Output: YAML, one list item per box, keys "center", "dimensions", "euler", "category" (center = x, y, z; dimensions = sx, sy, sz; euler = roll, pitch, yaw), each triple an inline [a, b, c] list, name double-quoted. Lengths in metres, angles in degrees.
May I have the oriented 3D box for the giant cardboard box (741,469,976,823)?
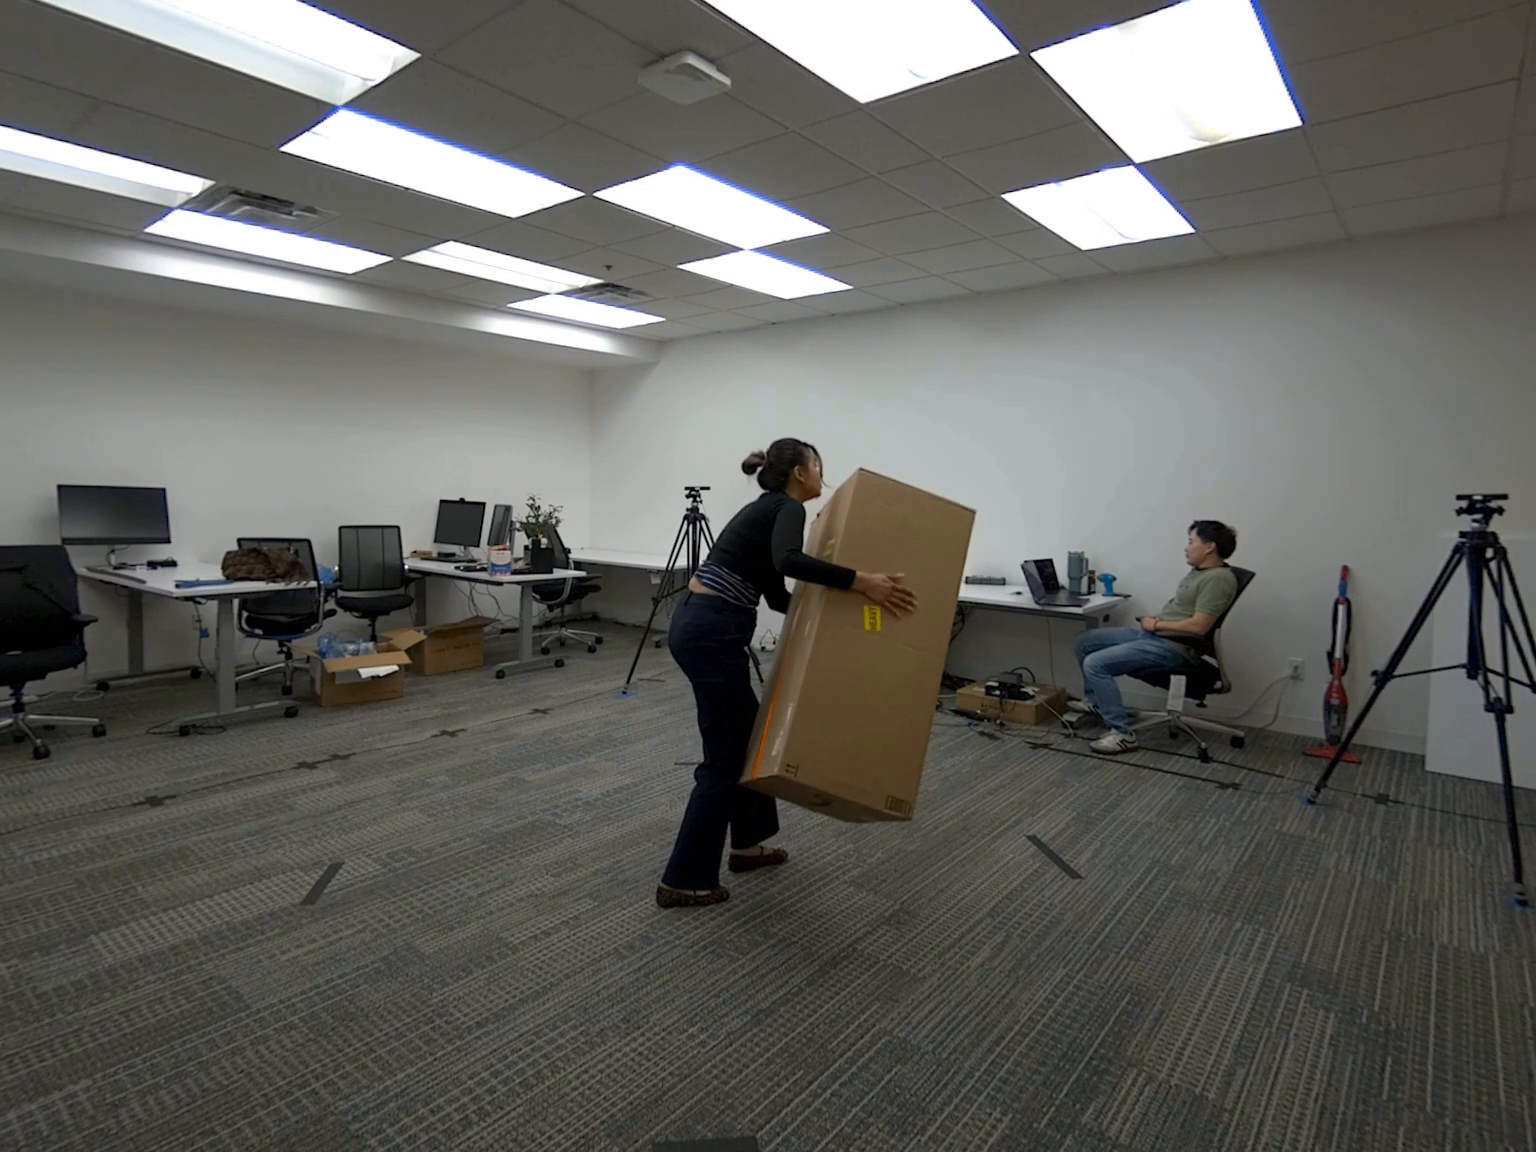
- center: [0.282, 0.258, 2.878]
  dimensions: [0.423, 1.038, 0.575]
  euler: [19, -21, -7]
  category: "giant cardboard box"
